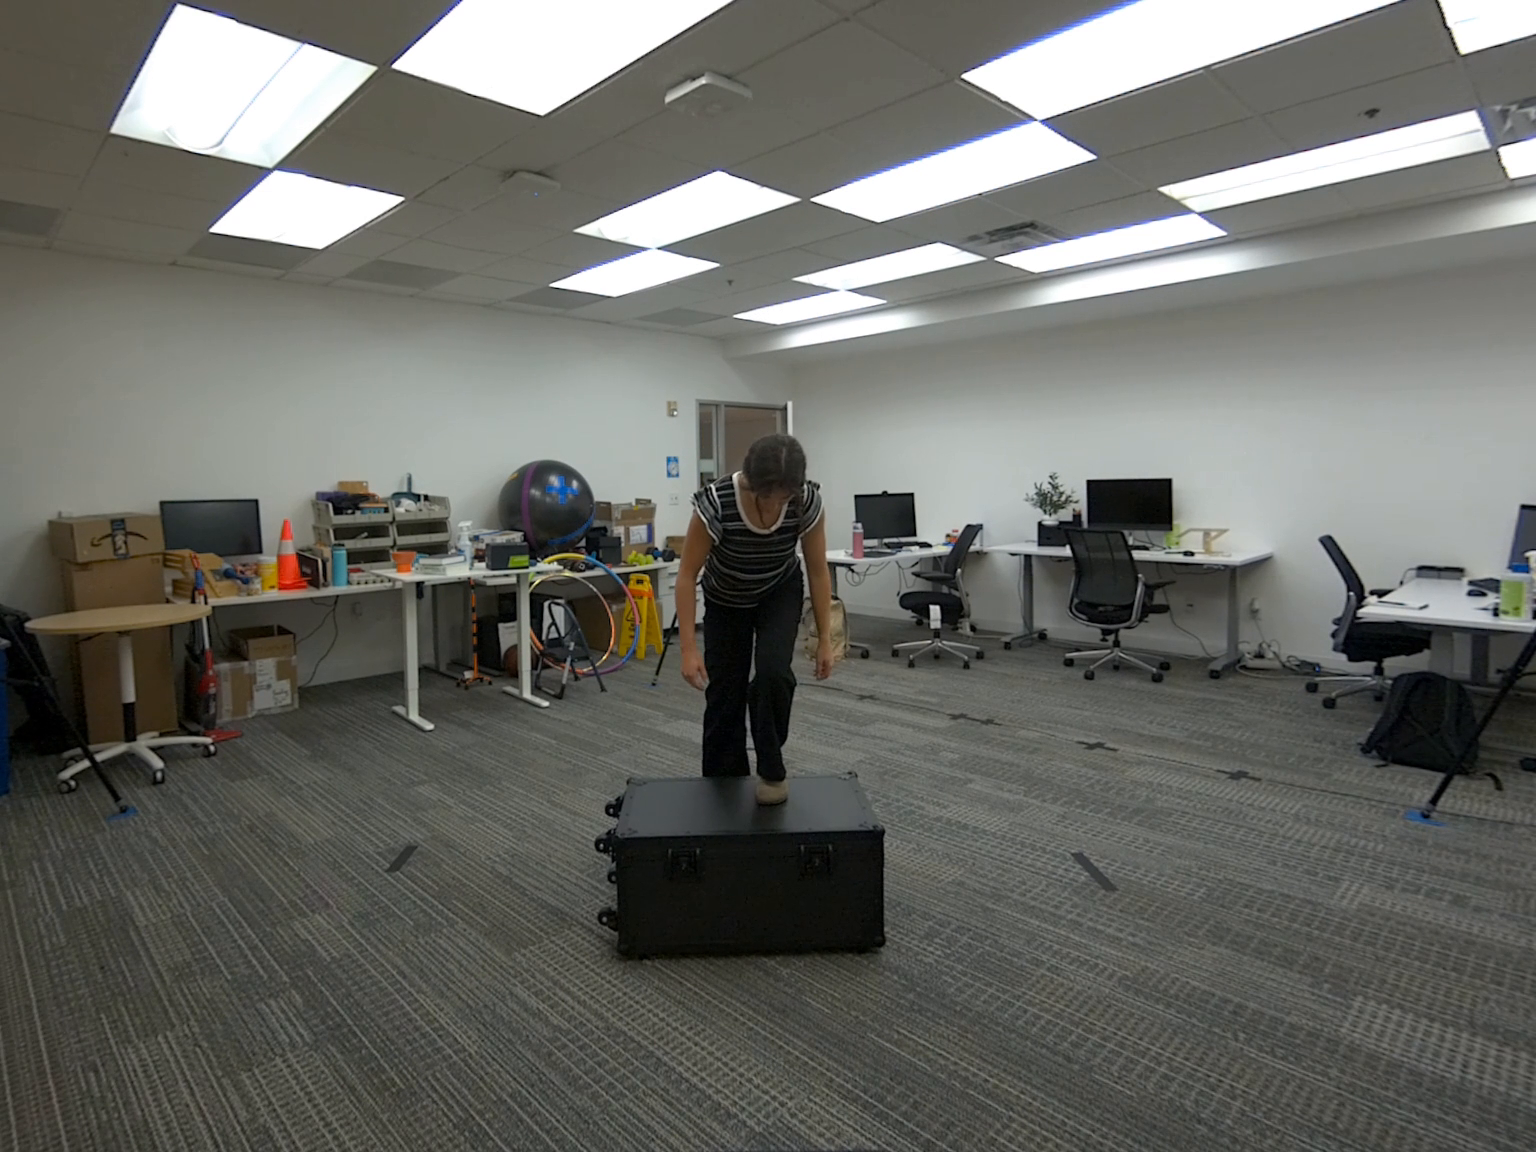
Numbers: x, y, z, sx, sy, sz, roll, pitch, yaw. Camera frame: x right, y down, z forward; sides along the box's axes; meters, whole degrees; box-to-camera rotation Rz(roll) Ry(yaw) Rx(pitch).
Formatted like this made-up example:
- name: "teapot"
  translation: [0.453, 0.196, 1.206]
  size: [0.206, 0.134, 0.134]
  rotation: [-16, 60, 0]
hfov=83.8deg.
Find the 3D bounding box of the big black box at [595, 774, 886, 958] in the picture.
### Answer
- name: "big black box"
  translation: [-0.099, 0.899, 2.715]
  size: [0.860, 0.395, 0.524]
  rotation: [-1, 5, -3]
